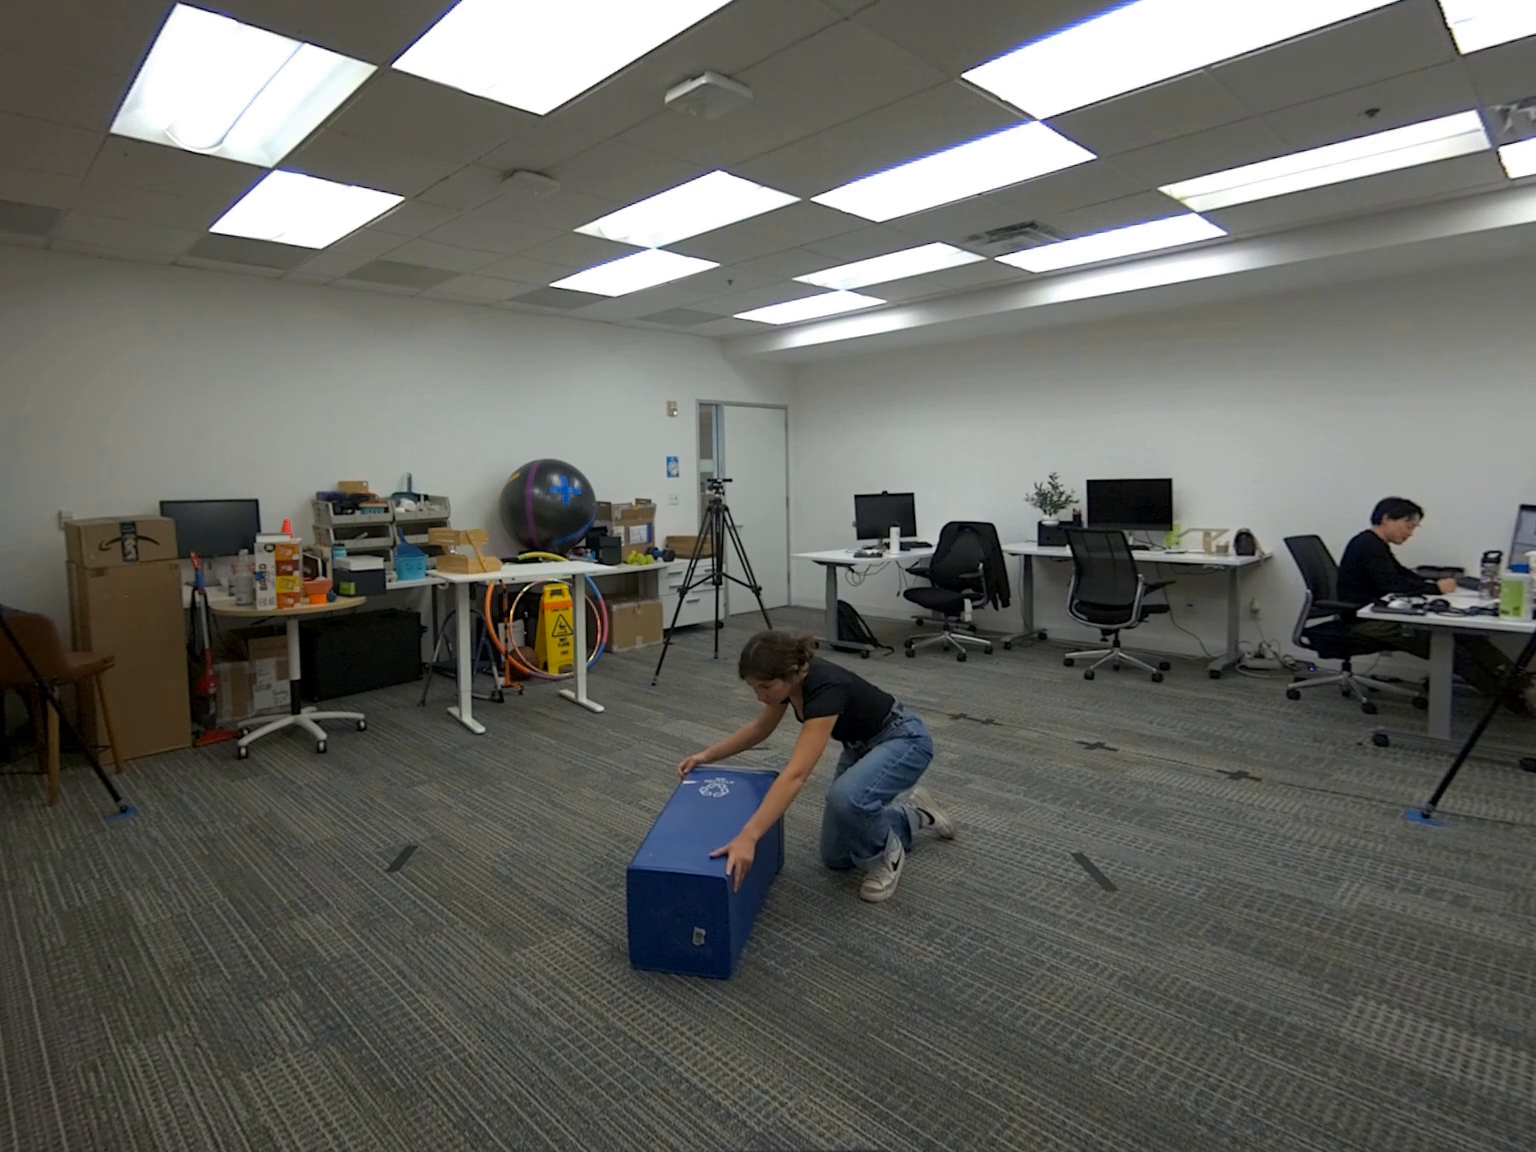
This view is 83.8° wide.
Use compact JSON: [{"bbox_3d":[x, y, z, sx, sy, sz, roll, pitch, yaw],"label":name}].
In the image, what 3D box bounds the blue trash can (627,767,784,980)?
[{"bbox_3d":[-0.179,0.921,2.743,0.378,0.375,0.710,1,9,11],"label":"blue trash can"}]
